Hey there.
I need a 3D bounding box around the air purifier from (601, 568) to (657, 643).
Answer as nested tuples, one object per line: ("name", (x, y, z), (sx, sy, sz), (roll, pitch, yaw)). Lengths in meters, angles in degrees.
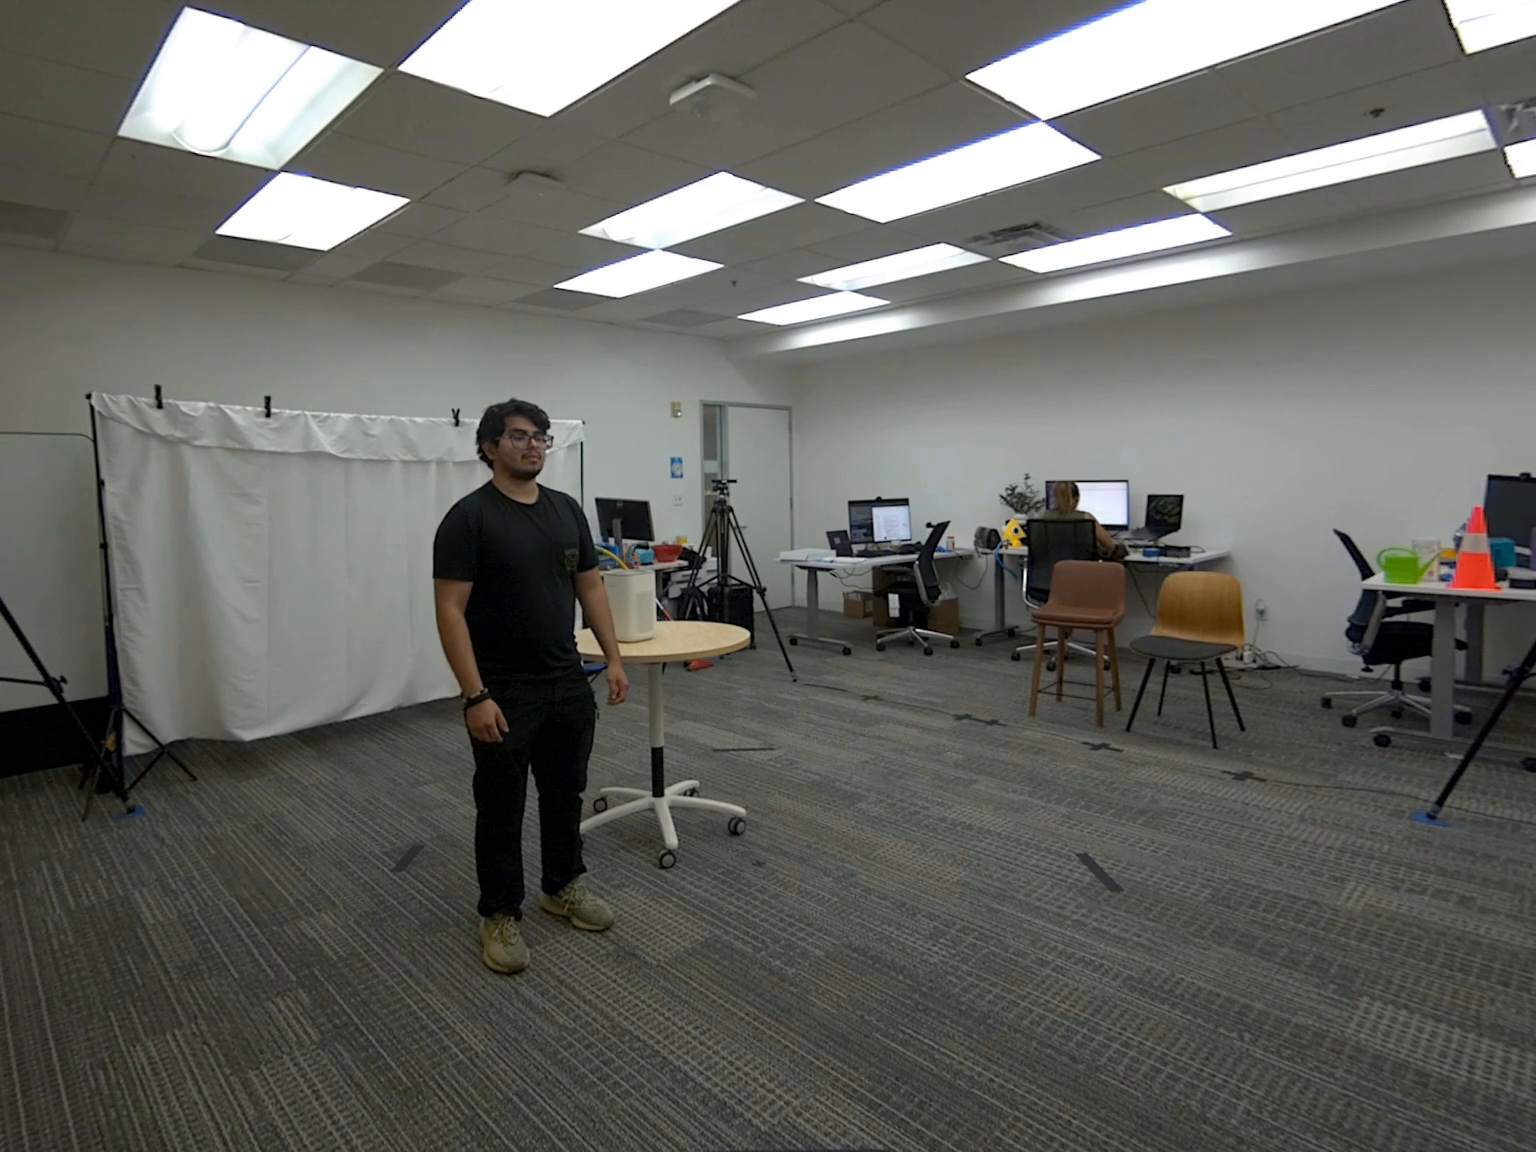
("air purifier", (-0.534, 0.113, 3.342), (0.173, 0.262, 0.169), (-1, 2, 40))
